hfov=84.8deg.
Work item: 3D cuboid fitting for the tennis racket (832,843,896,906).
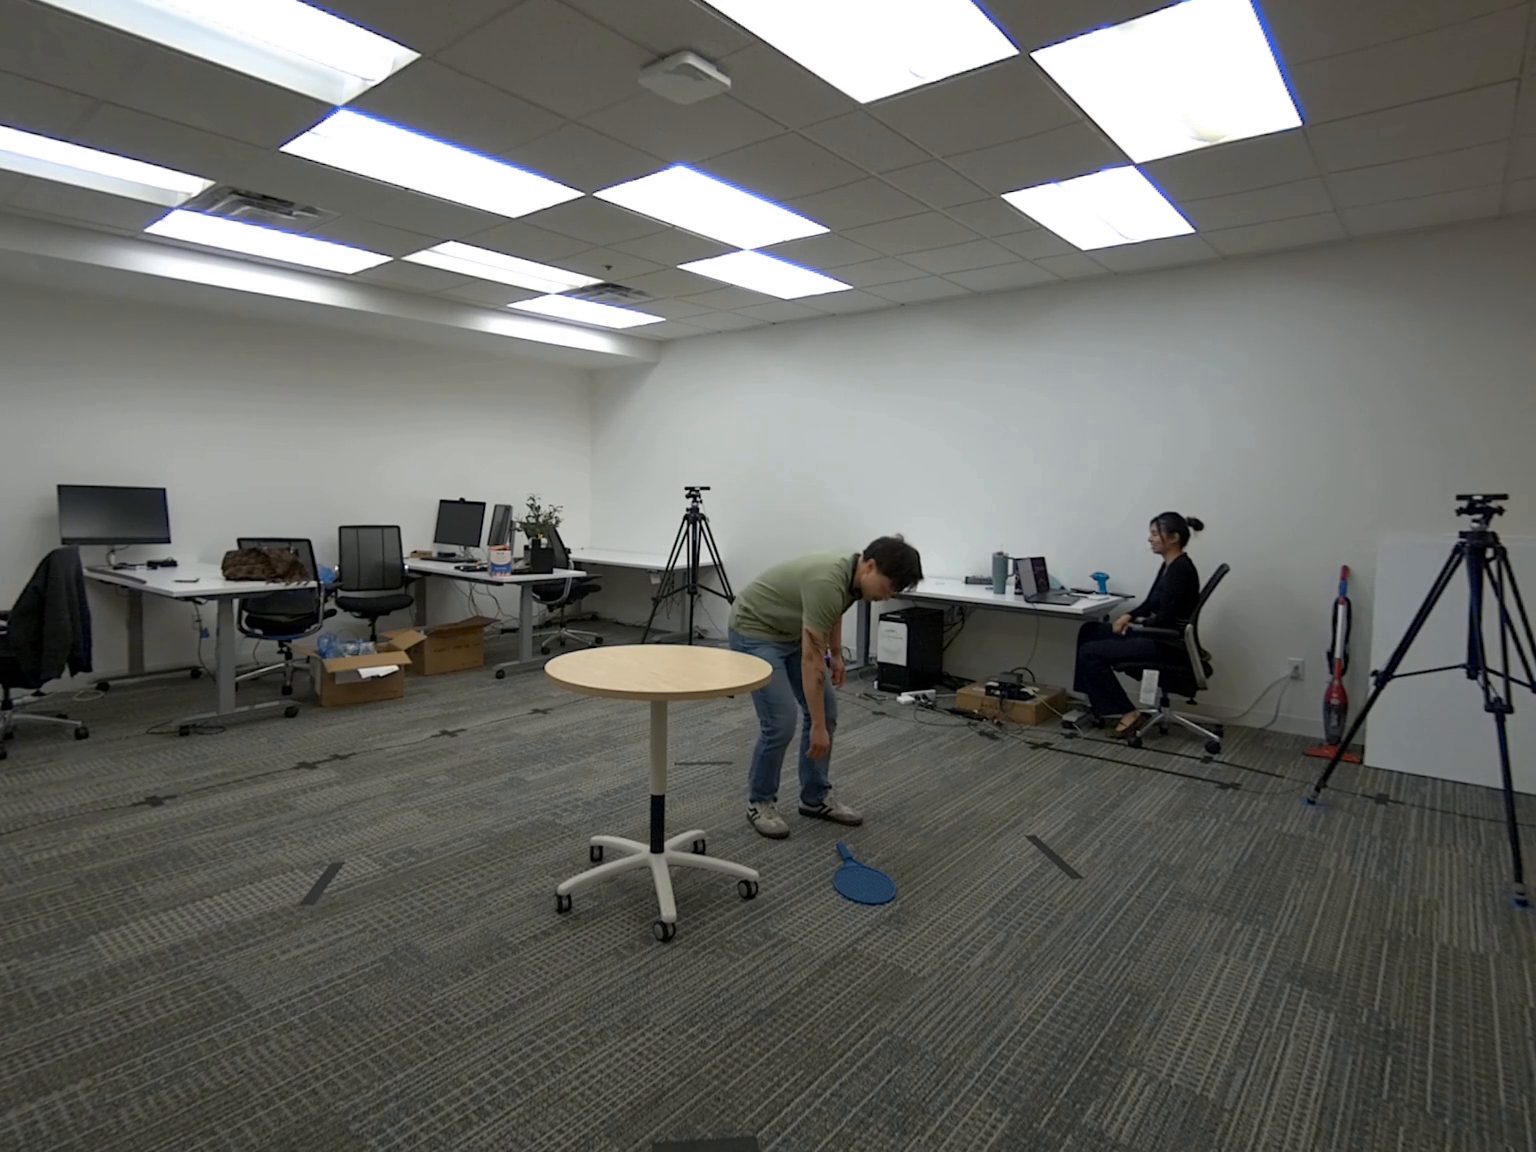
[{"bbox_3d":[0.315,1.066,3.068,0.212,0.031,0.439,0,7,-10],"label":"tennis racket"}]
